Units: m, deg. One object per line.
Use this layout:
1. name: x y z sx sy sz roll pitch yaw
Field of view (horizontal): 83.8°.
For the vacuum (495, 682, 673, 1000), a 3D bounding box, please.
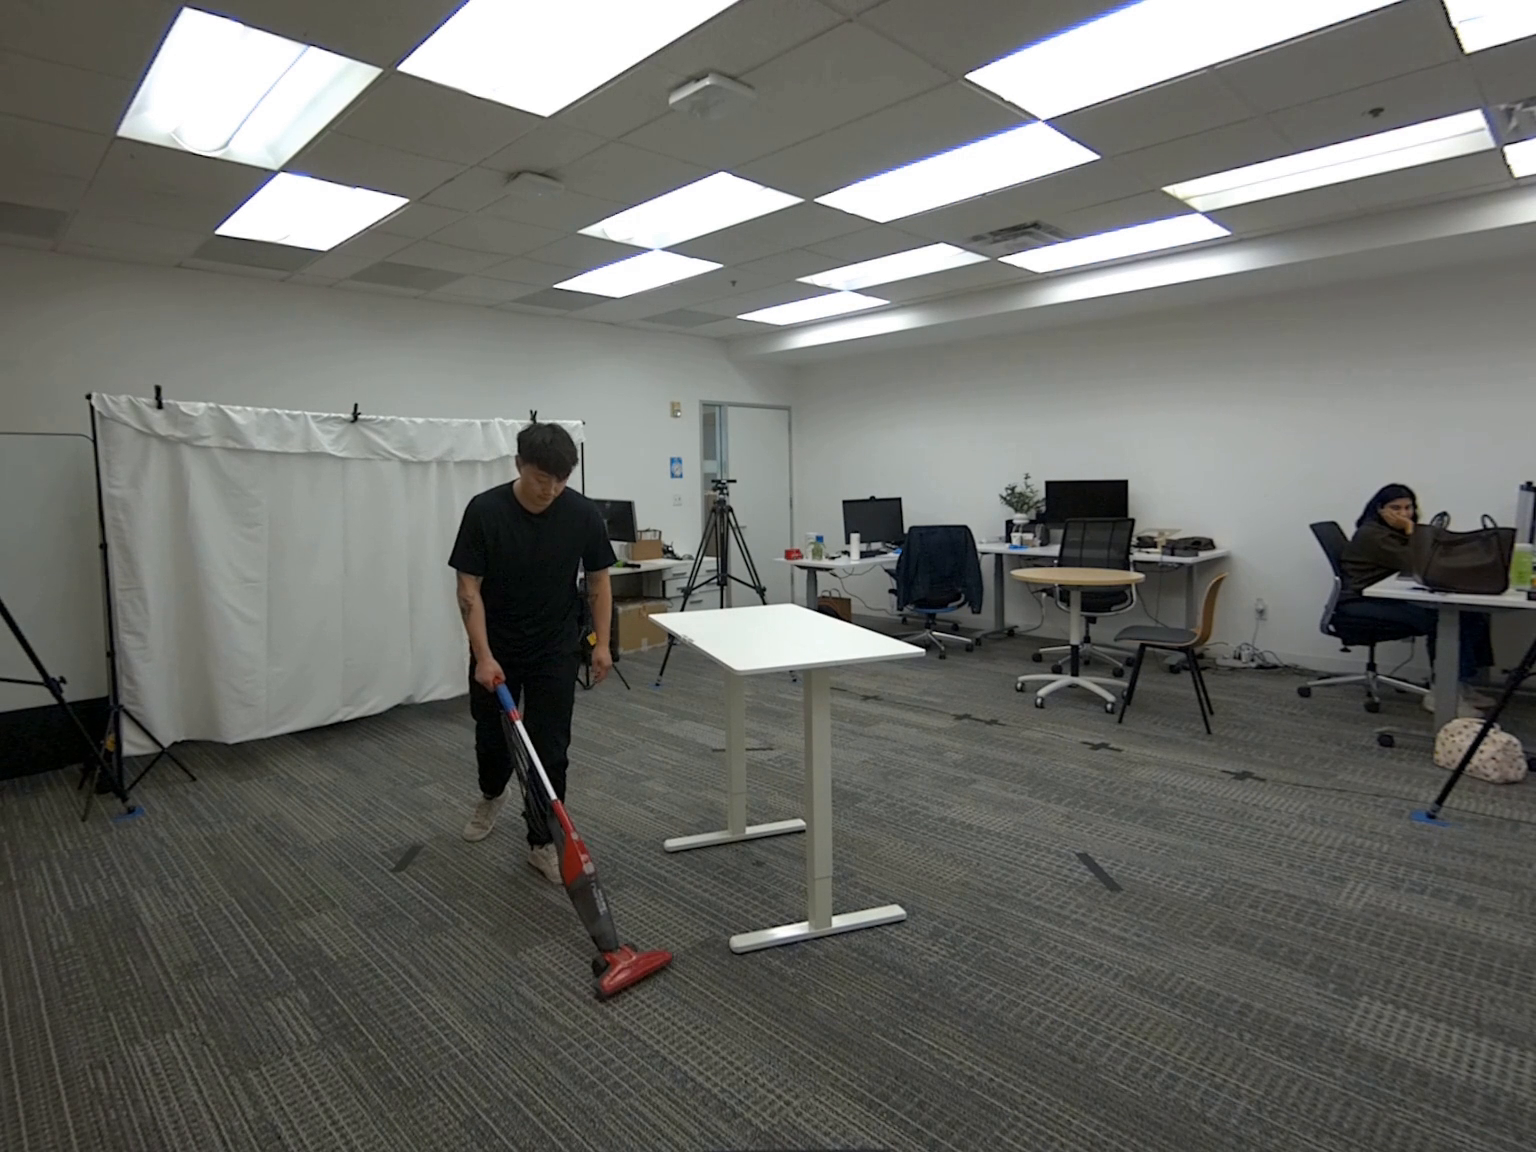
1. vacuum: -0.665 0.746 2.667 0.245 0.143 1.085 -3 47 -45
